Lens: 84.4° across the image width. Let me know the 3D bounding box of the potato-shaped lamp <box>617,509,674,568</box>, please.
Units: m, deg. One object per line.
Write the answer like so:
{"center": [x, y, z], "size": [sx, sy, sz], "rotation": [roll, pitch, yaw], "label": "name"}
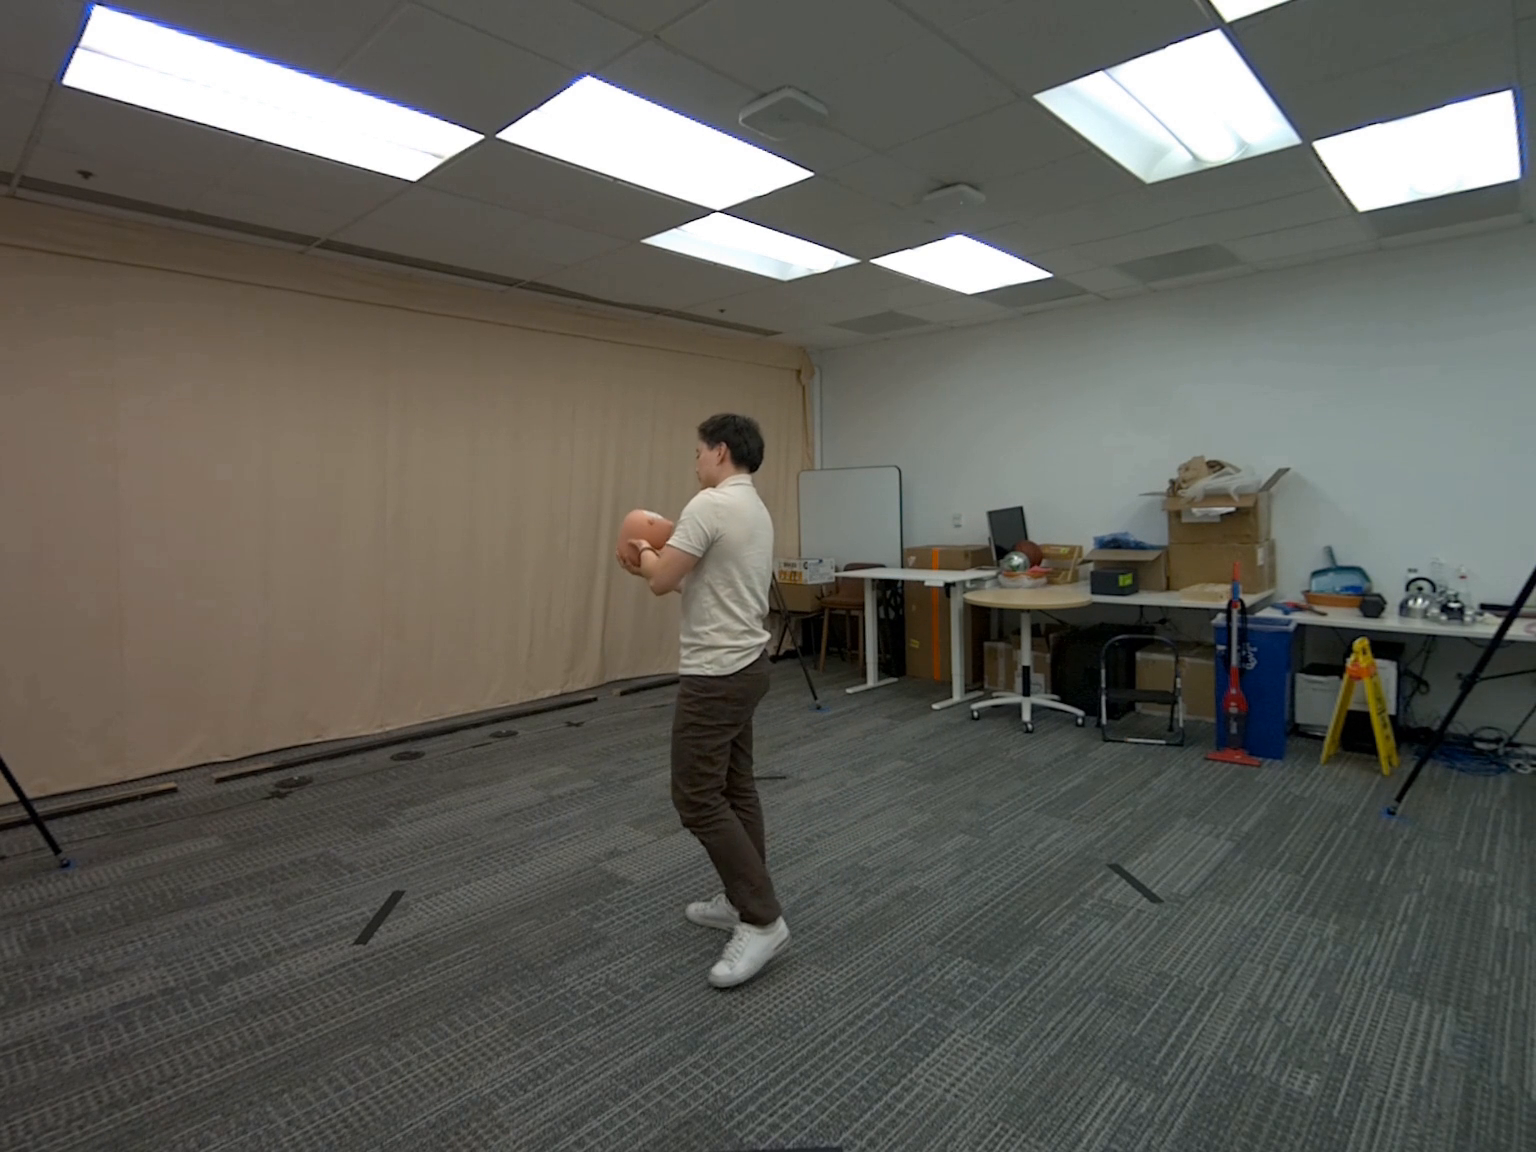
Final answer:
{"center": [-0.425, -0.125, 2.906], "size": [0.177, 0.197, 0.159], "rotation": [27, 12, 35], "label": "potato-shaped lamp"}
